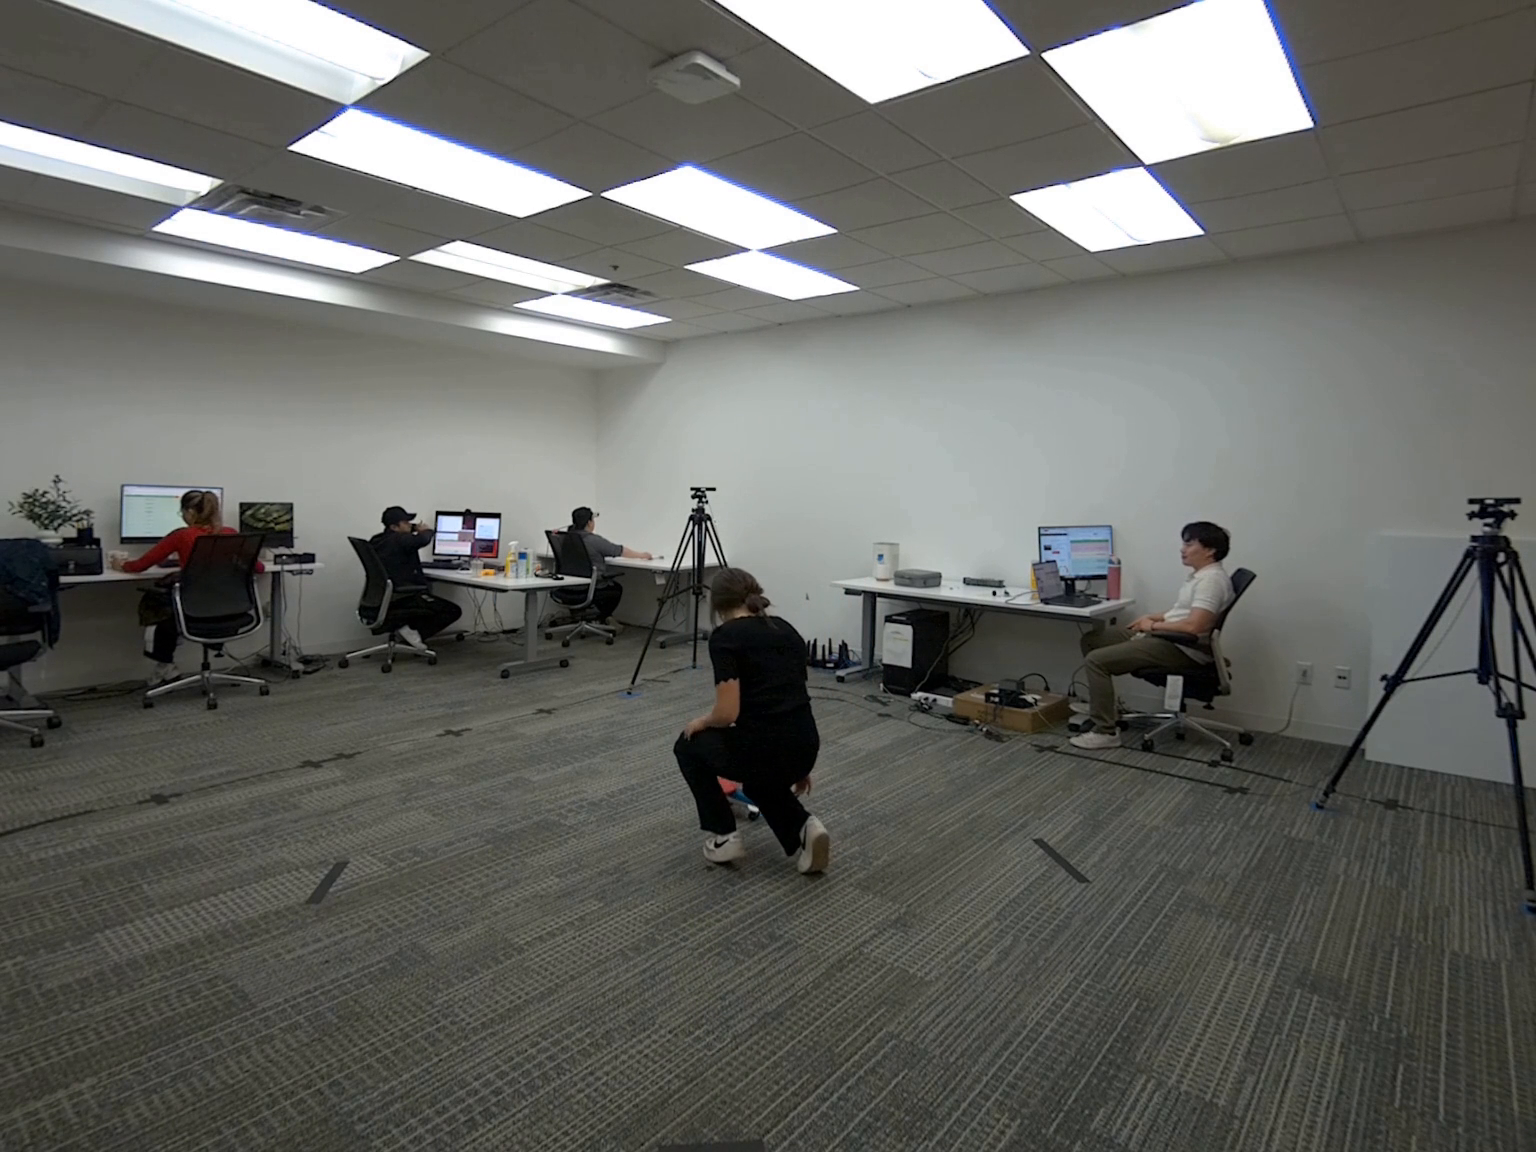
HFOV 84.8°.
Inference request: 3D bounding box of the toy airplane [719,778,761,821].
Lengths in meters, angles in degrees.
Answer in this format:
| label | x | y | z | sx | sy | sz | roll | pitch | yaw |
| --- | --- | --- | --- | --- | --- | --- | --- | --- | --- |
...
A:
| label | x | y | z | sx | sy | sz | roll | pitch | yaw |
| --- | --- | --- | --- | --- | --- | --- | --- | --- | --- |
| toy airplane | -0.145 | 0.940 | 3.646 | 0.258 | 0.156 | 0.253 | 0 | 3 | -4 |
